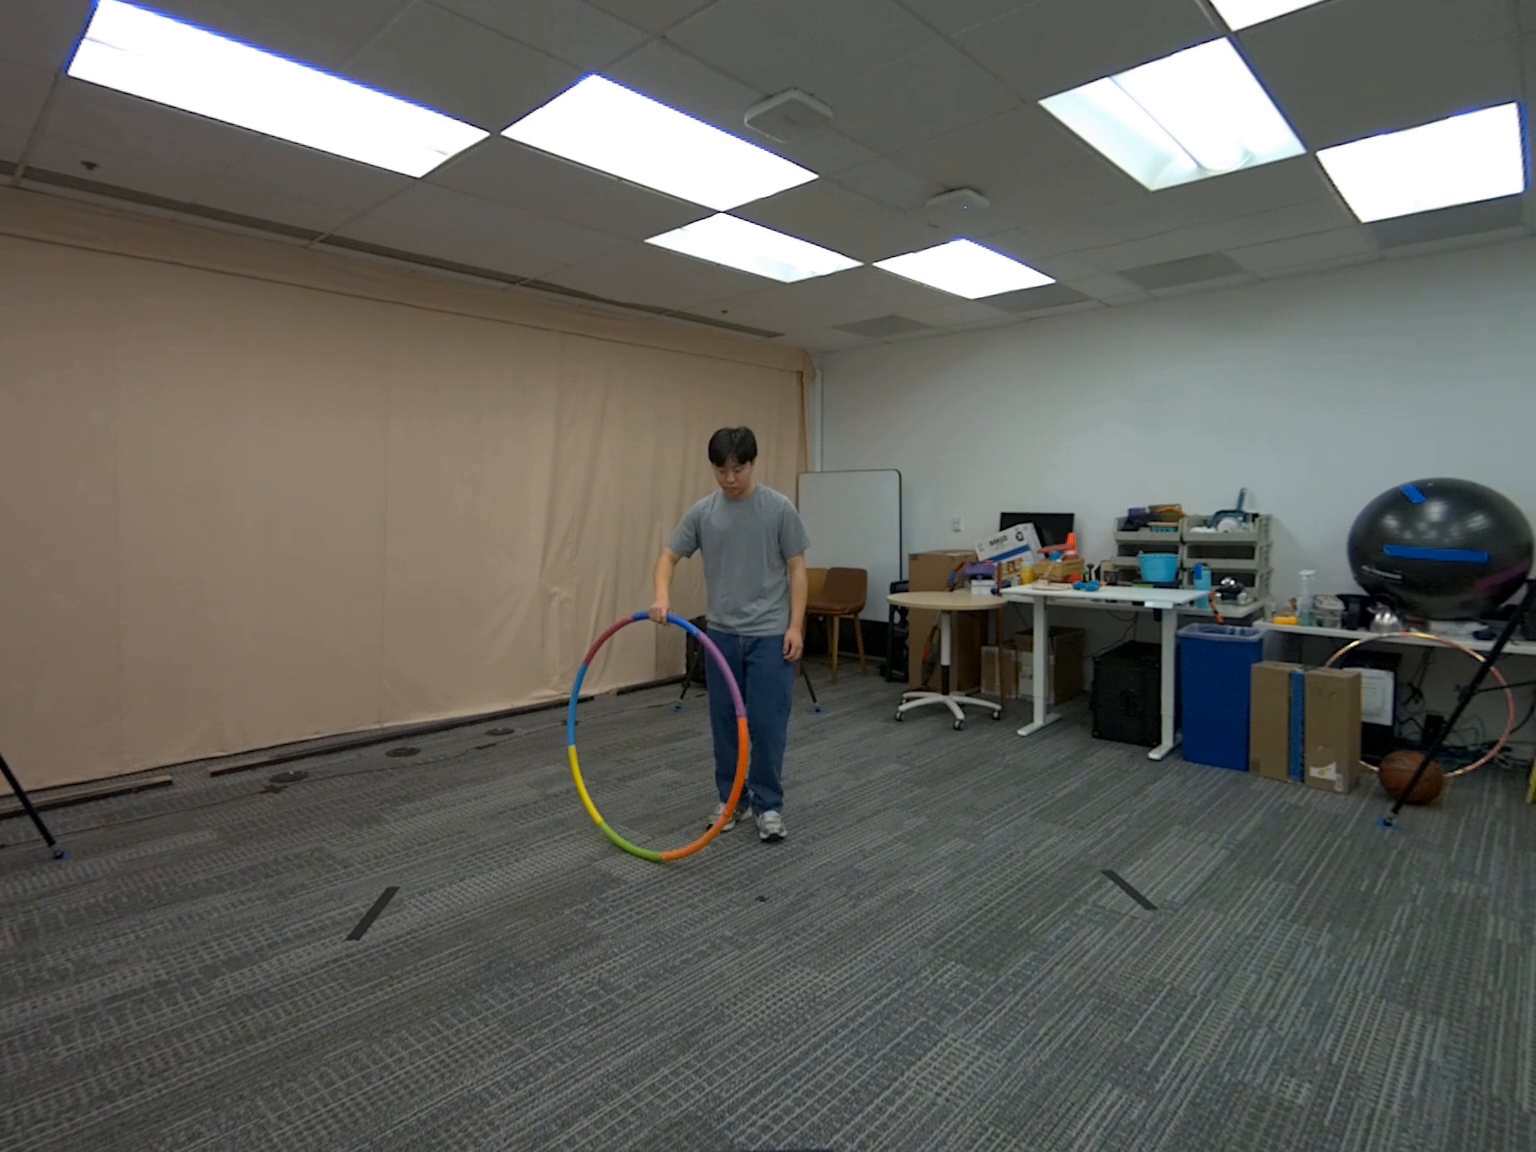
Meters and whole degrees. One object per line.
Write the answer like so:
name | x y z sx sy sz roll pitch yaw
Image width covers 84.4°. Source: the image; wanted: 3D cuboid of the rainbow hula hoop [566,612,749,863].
rainbow hula hoop | -0.461 0.631 3.378 1.011 0.980 0.034 3 -4 39
